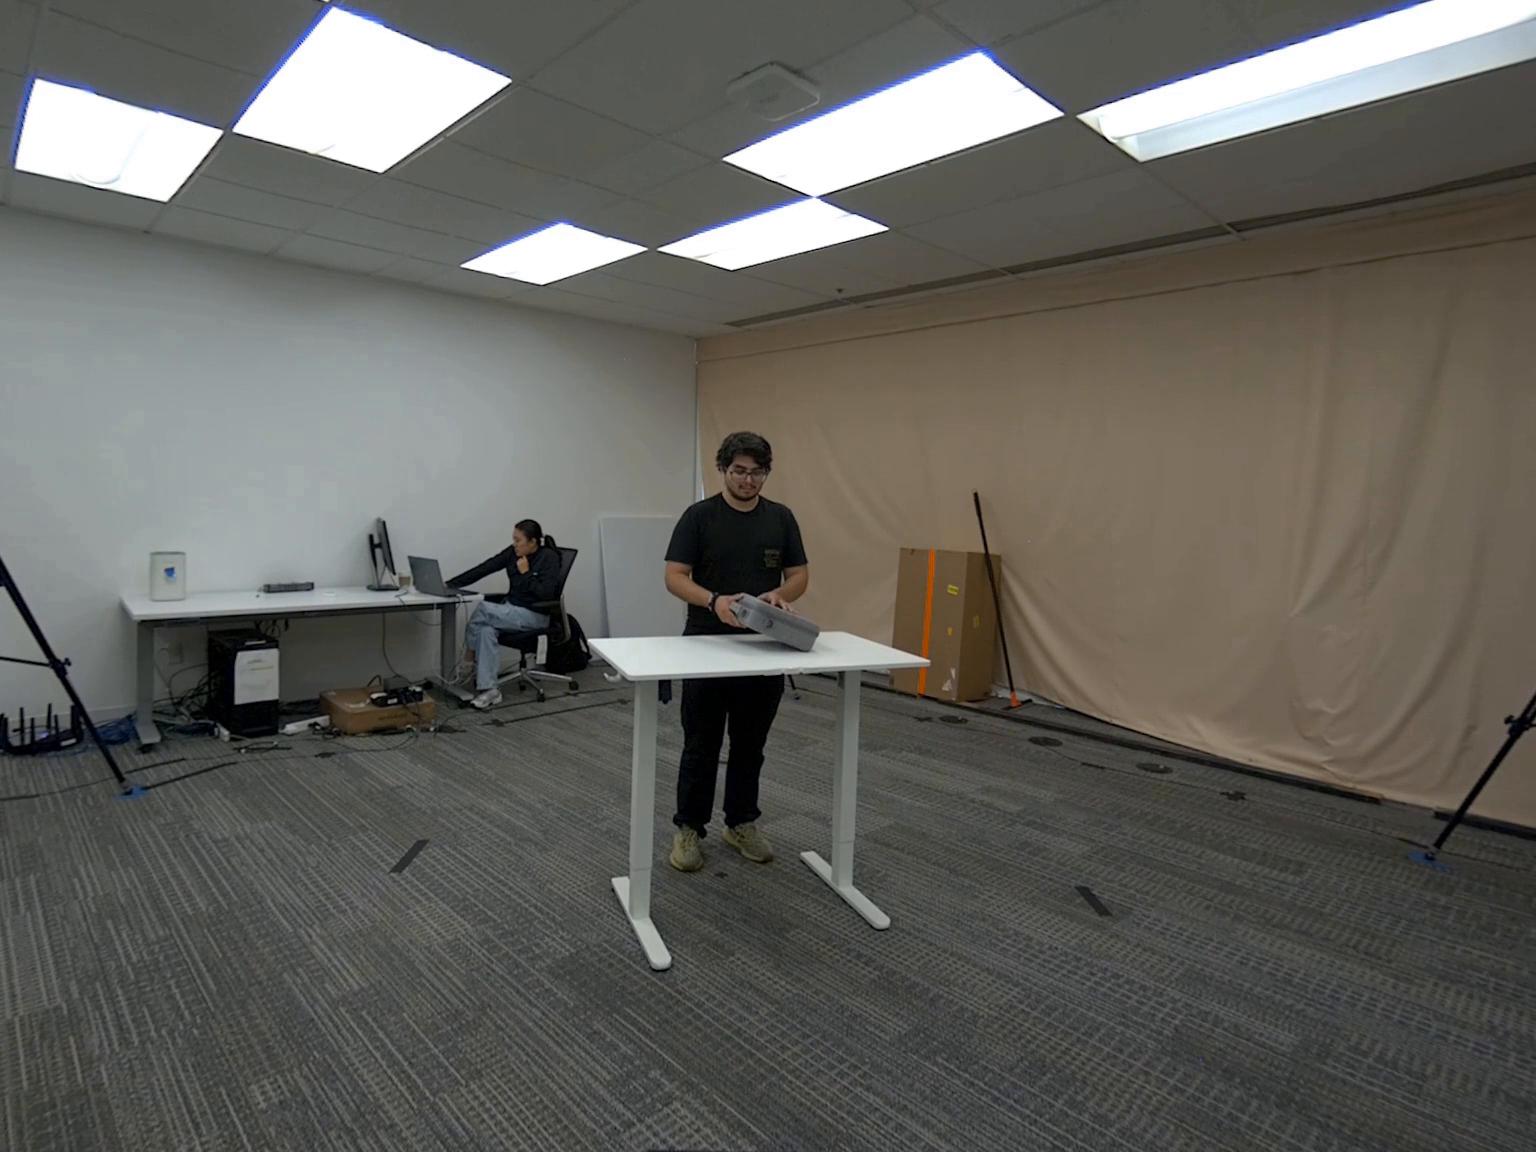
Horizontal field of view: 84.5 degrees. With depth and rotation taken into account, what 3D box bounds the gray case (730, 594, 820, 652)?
[{"bbox_3d":[0.025,0.164,2.892,0.256,0.104,0.260,23,-4,-16],"label":"gray case"}]
